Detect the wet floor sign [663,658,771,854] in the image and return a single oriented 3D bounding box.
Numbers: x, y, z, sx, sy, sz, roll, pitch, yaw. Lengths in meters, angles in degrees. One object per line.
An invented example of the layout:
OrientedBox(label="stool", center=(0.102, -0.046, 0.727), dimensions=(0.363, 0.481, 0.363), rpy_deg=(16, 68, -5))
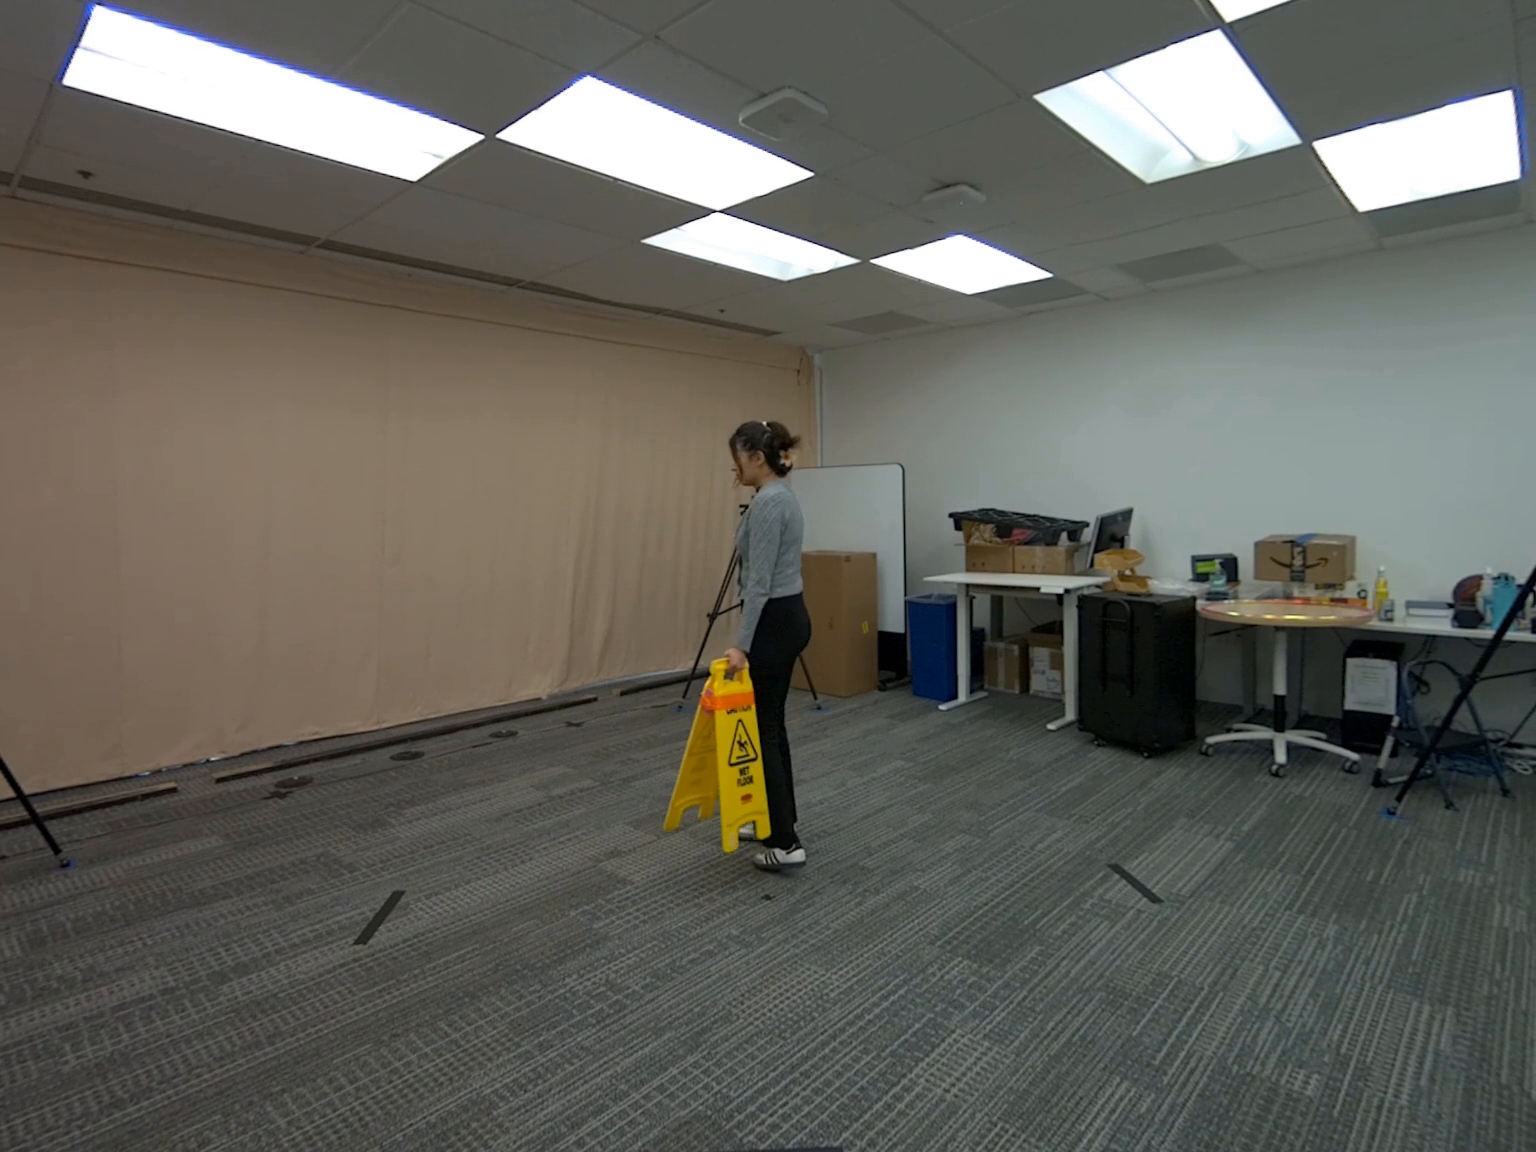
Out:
OrientedBox(label="wet floor sign", center=(-0.163, 0.627, 3.098), dimensions=(0.299, 0.646, 0.273), rpy_deg=(5, 1, 36))
